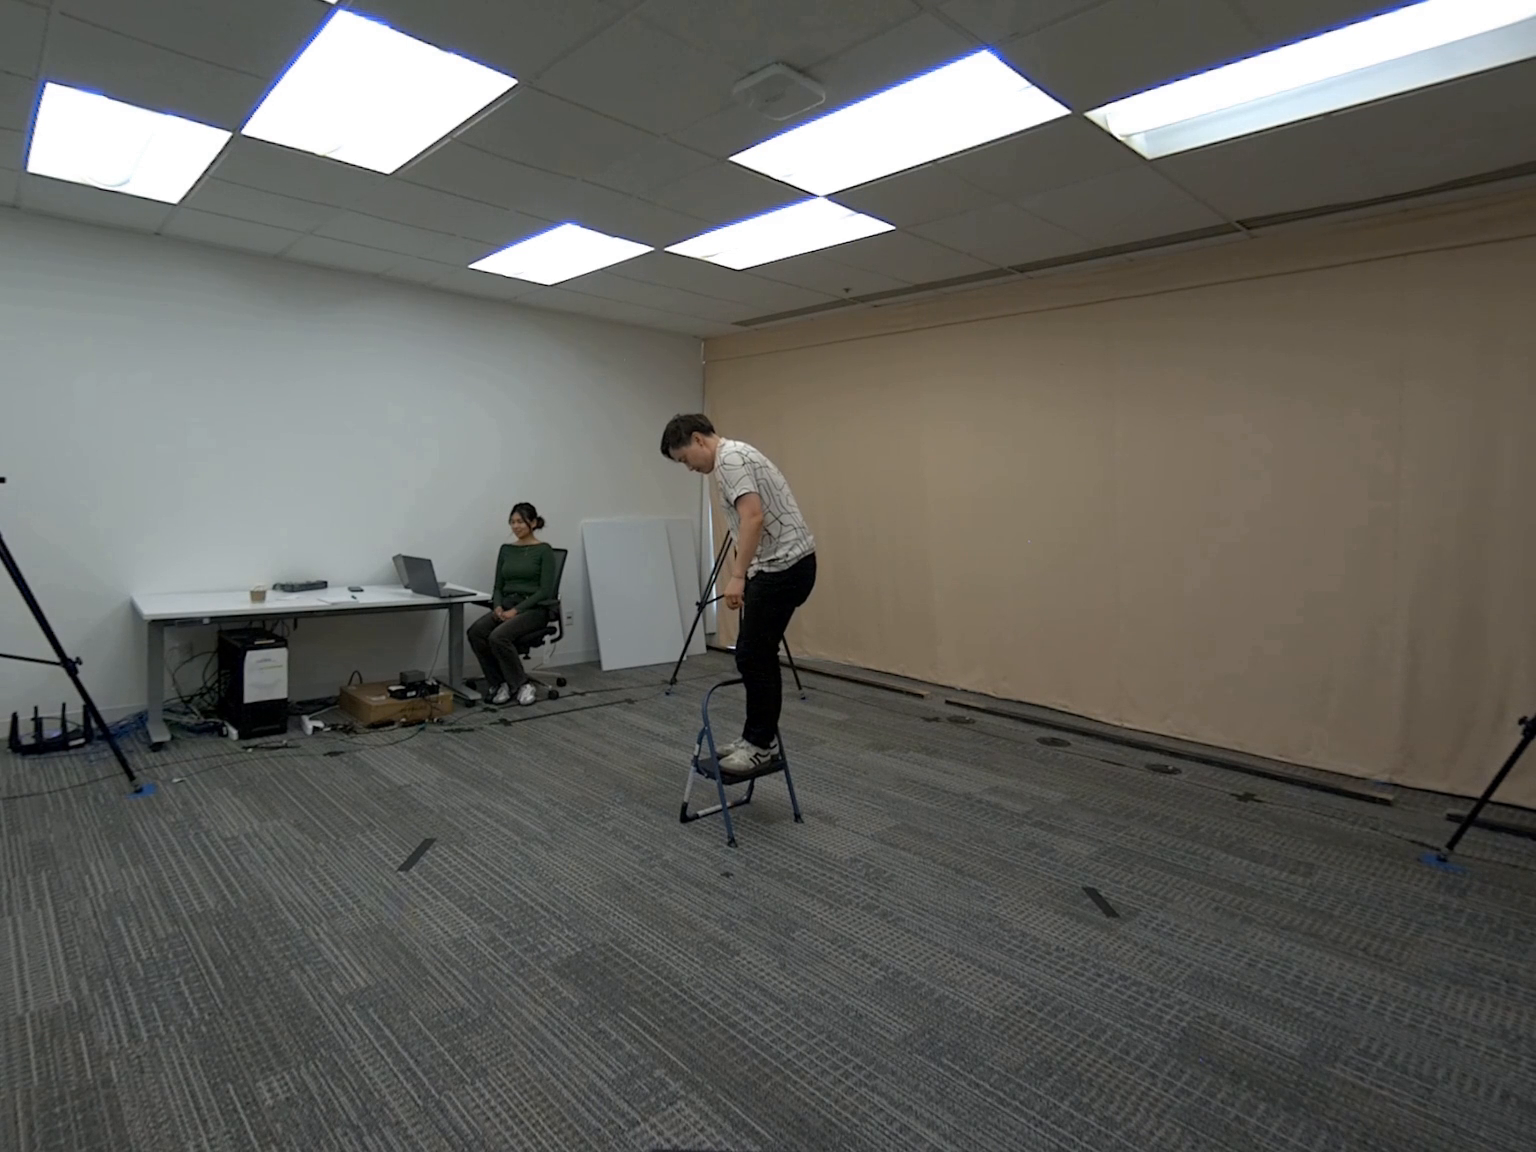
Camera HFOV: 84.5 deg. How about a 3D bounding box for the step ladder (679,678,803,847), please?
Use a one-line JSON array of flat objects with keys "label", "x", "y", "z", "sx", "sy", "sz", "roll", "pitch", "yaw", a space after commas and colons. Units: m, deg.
[{"label": "step ladder", "x": -0.115, "y": 0.753, "z": 3.601, "sx": 0.358, "sy": 0.605, "sz": 0.421, "roll": 4, "pitch": 4, "yaw": 44}]
